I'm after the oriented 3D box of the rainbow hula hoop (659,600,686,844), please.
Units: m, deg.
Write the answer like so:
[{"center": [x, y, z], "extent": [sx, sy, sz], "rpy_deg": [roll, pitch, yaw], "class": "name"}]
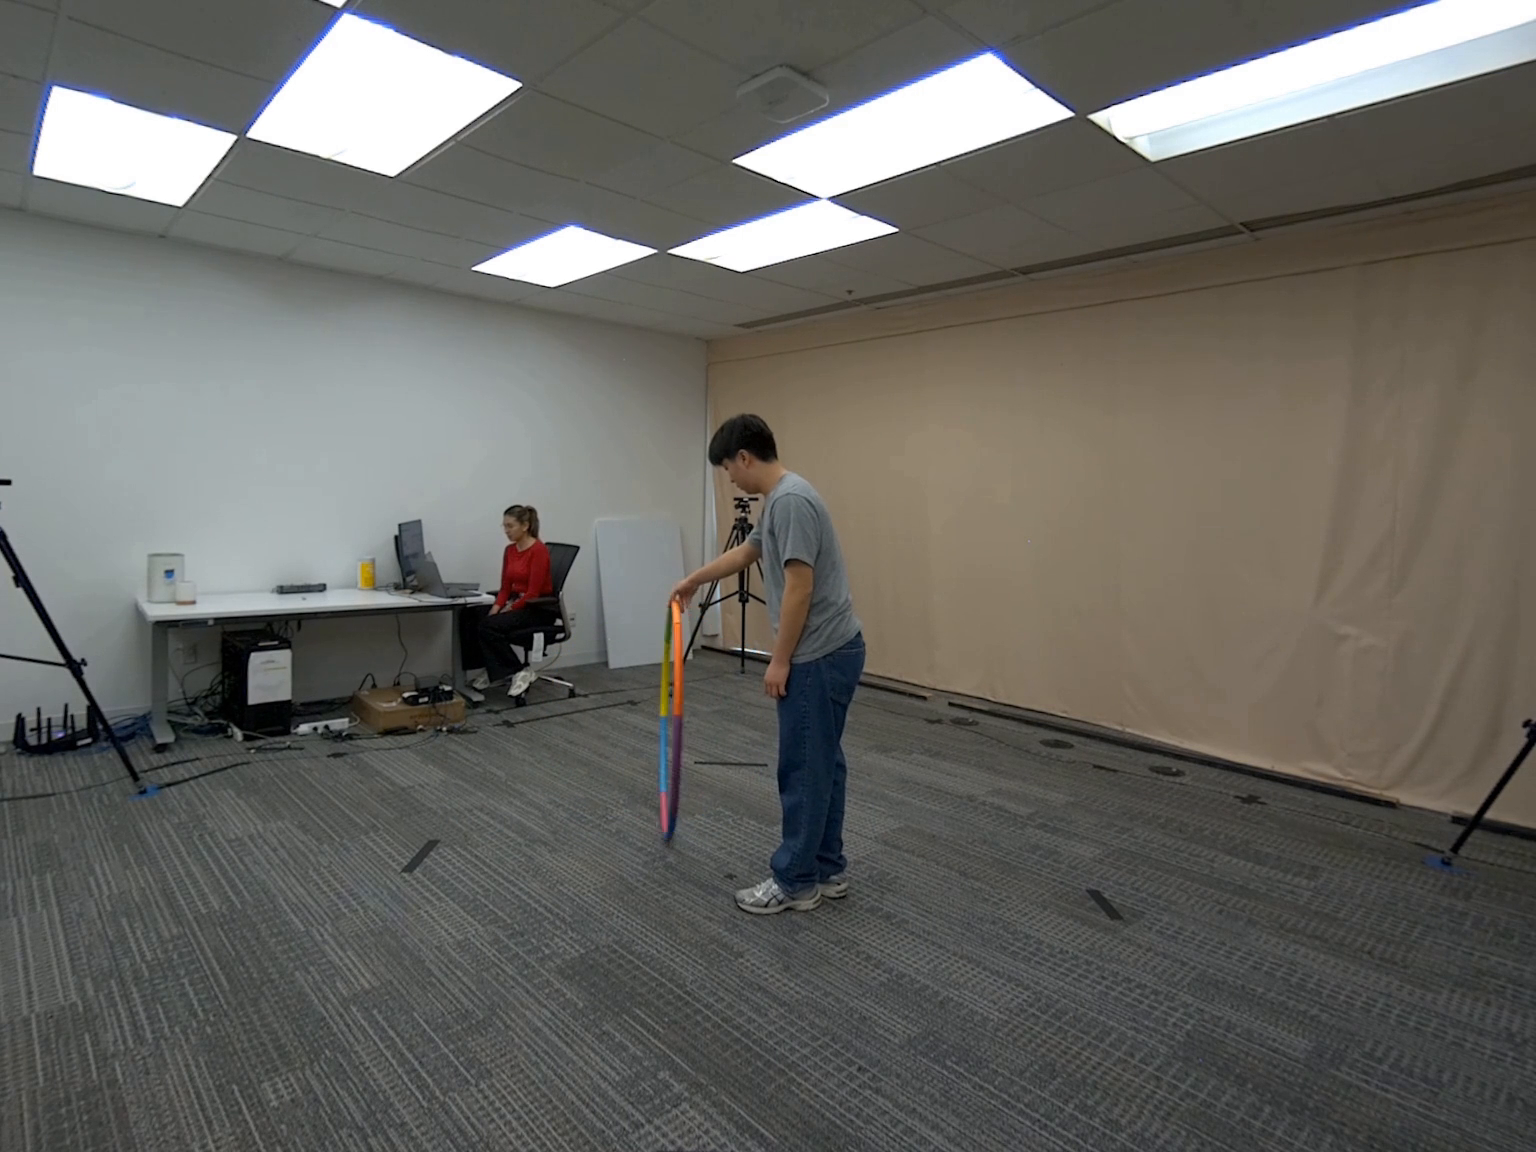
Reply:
[{"center": [-0.420, 0.579, 3.487], "extent": [0.035, 0.976, 0.987], "rpy_deg": [1, 4, -9], "class": "rainbow hula hoop"}]
